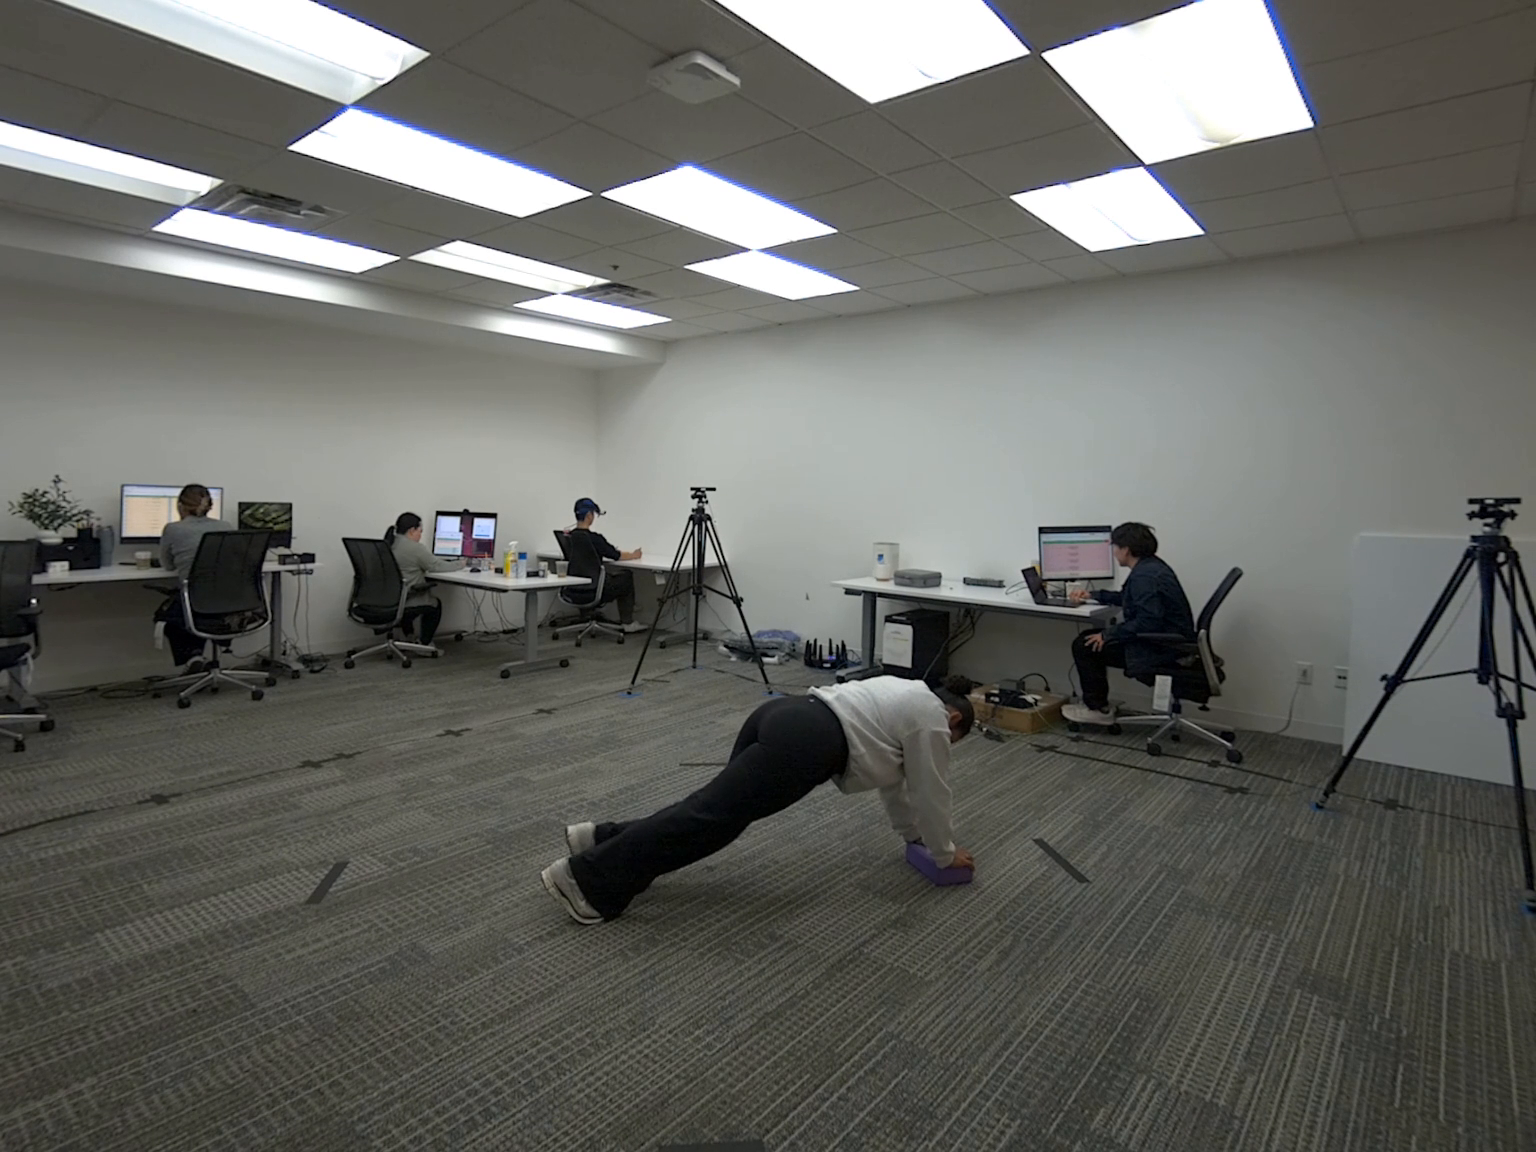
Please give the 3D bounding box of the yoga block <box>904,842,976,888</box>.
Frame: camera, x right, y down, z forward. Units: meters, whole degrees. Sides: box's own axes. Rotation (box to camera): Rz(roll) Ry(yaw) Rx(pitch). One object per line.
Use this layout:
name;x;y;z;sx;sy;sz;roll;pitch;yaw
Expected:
yoga block;0.623;1.054;3.136;0.146;0.076;0.234;-1;5;-20
